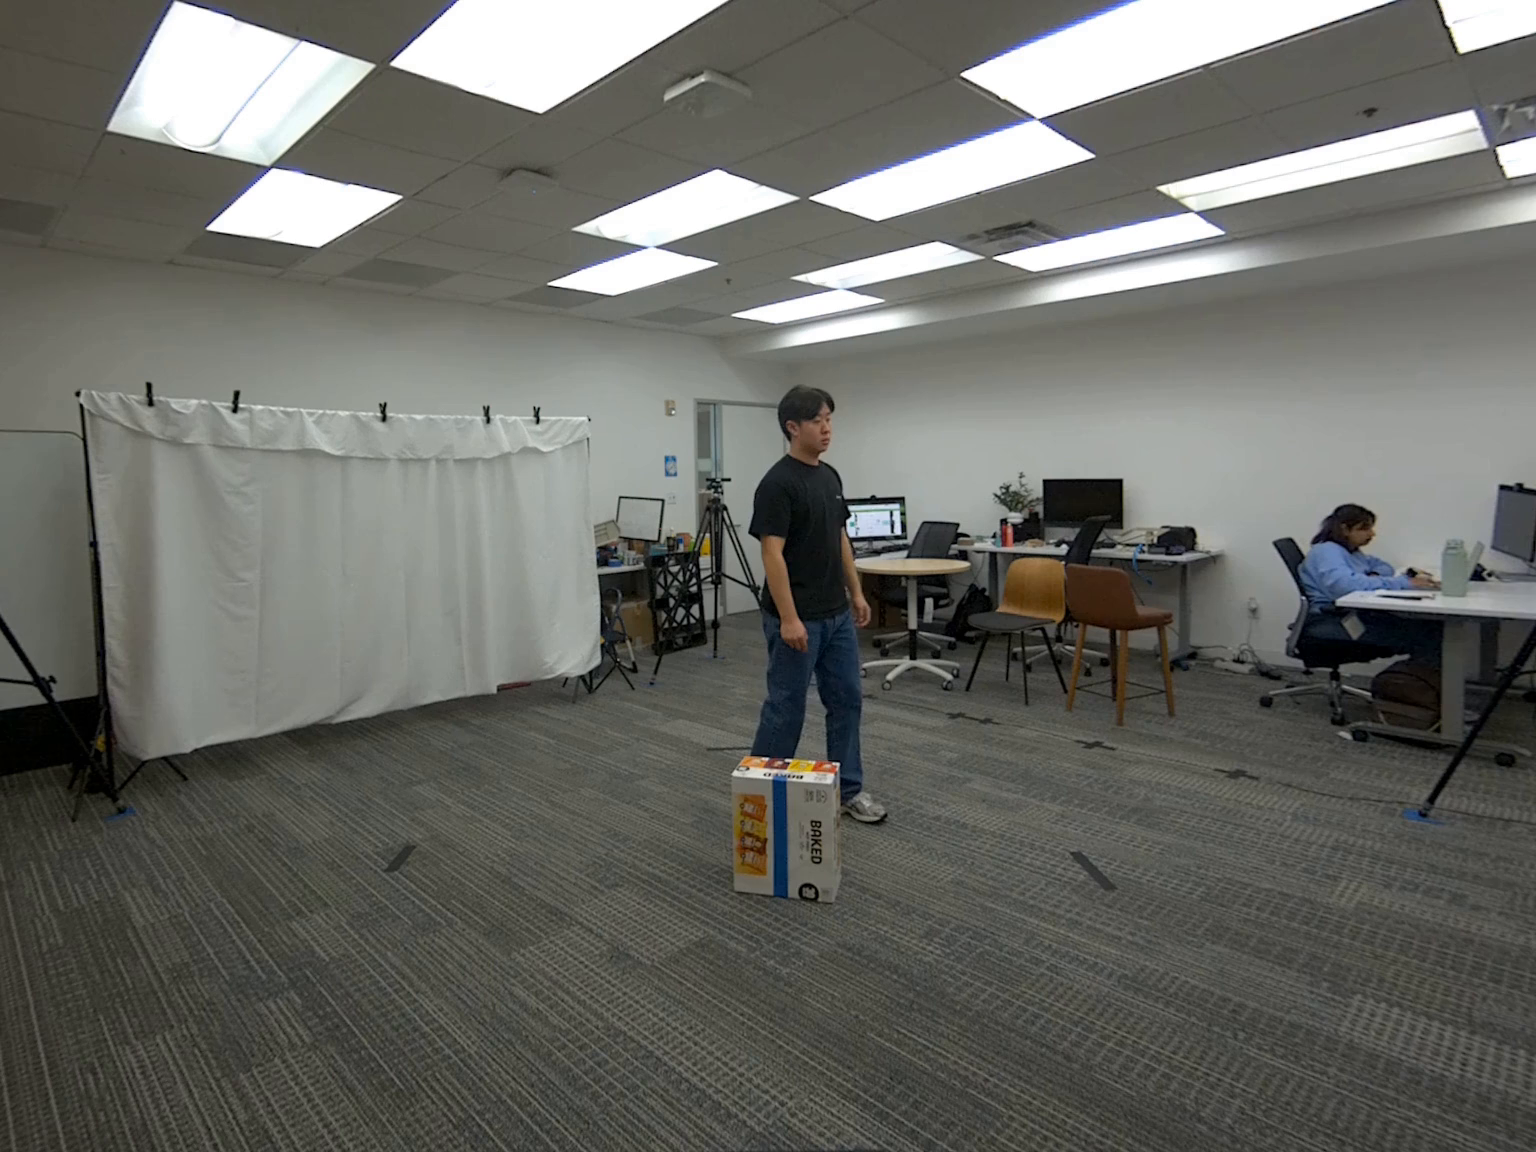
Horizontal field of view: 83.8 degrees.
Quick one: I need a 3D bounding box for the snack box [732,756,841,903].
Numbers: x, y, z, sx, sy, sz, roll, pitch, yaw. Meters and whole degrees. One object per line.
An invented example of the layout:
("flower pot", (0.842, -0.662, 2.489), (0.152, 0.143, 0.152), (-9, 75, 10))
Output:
("snack box", (0.070, 0.856, 2.928), (0.345, 0.403, 0.203), (0, 4, 15))
